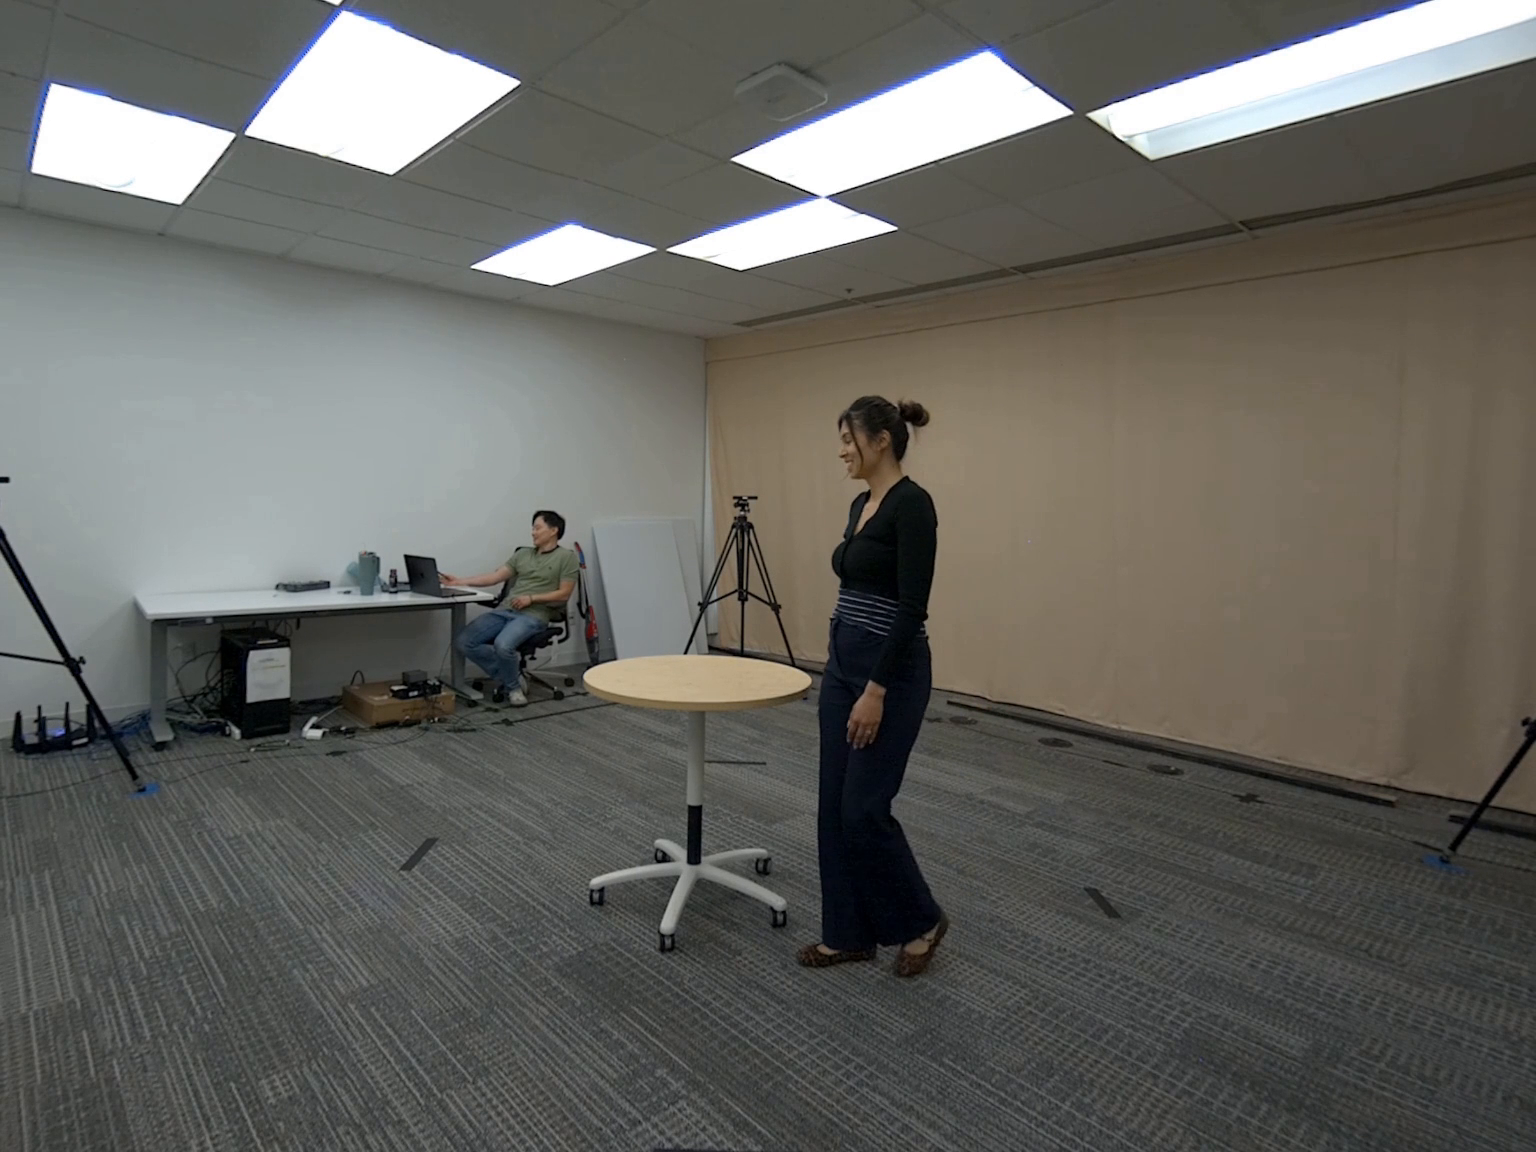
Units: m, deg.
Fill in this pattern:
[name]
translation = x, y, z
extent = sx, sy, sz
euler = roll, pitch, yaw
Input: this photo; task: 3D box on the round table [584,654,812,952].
[round table]
translation = -0.250, 0.732, 2.867
extent = 0.763, 0.792, 0.766
euler = 1, 4, -1
